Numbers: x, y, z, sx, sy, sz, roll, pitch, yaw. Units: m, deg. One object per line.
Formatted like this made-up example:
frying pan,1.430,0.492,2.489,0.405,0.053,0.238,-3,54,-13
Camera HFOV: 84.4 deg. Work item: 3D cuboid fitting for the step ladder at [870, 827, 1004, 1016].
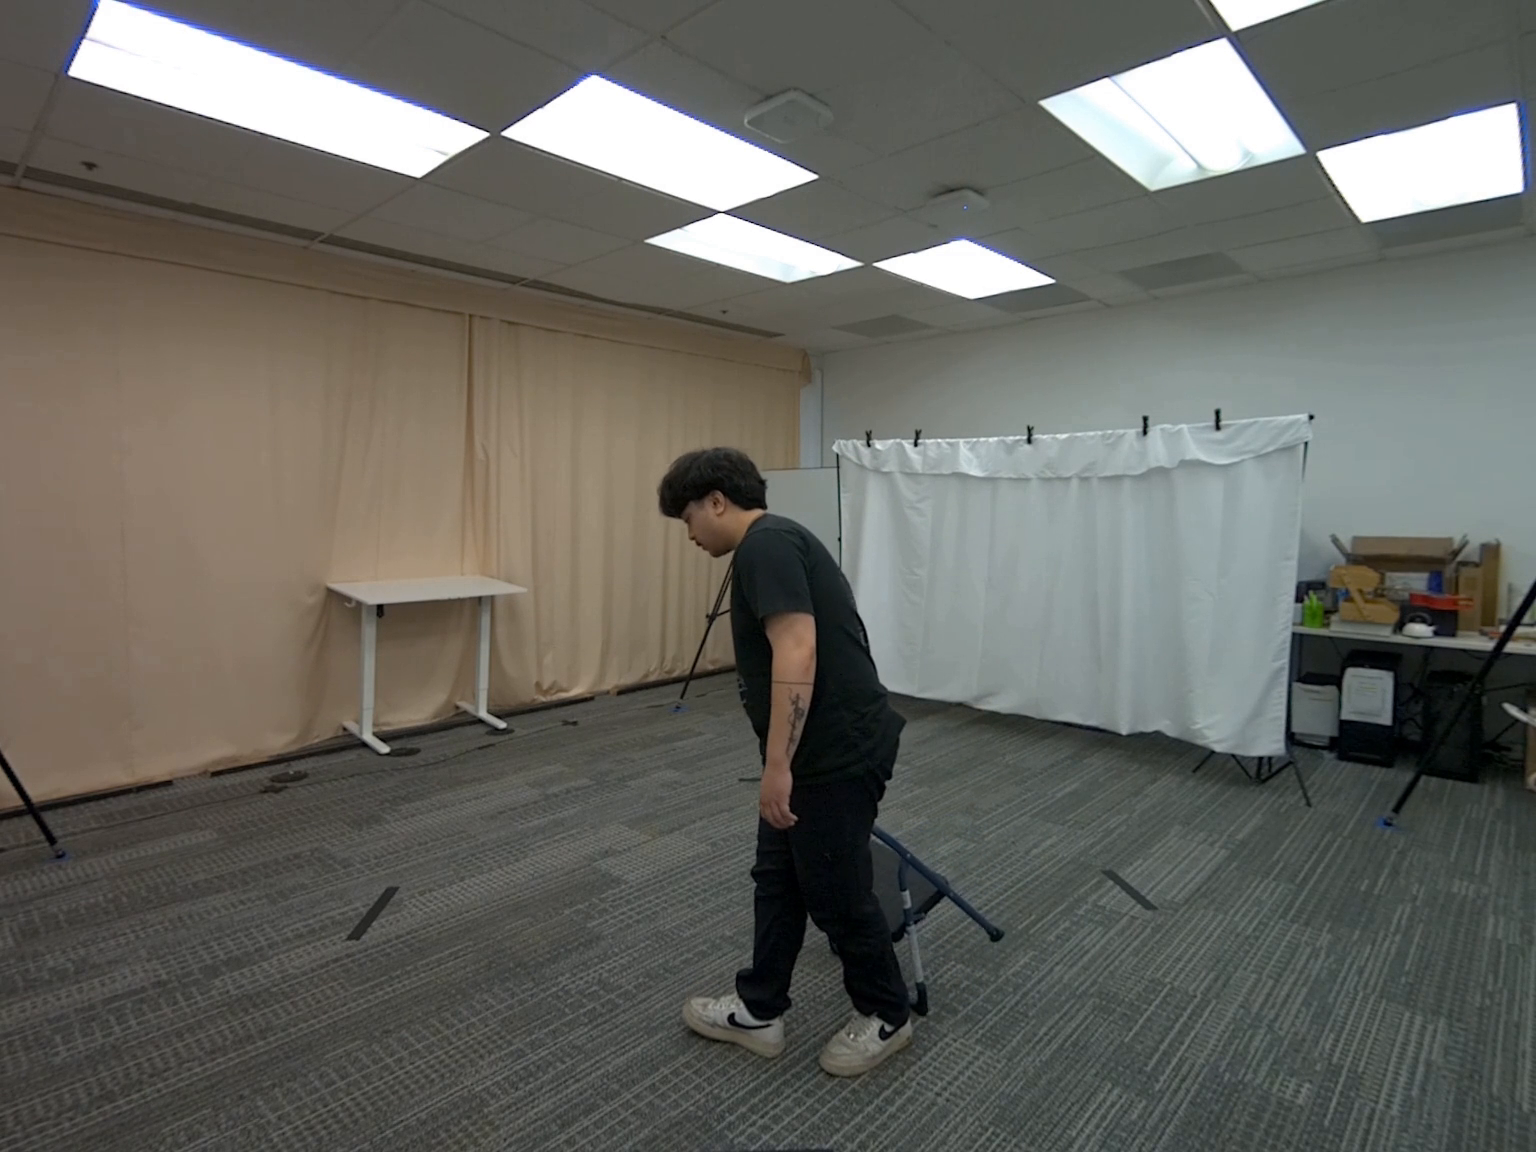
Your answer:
step ladder,0.334,0.850,2.460,0.344,0.596,0.443,-33,19,-26
